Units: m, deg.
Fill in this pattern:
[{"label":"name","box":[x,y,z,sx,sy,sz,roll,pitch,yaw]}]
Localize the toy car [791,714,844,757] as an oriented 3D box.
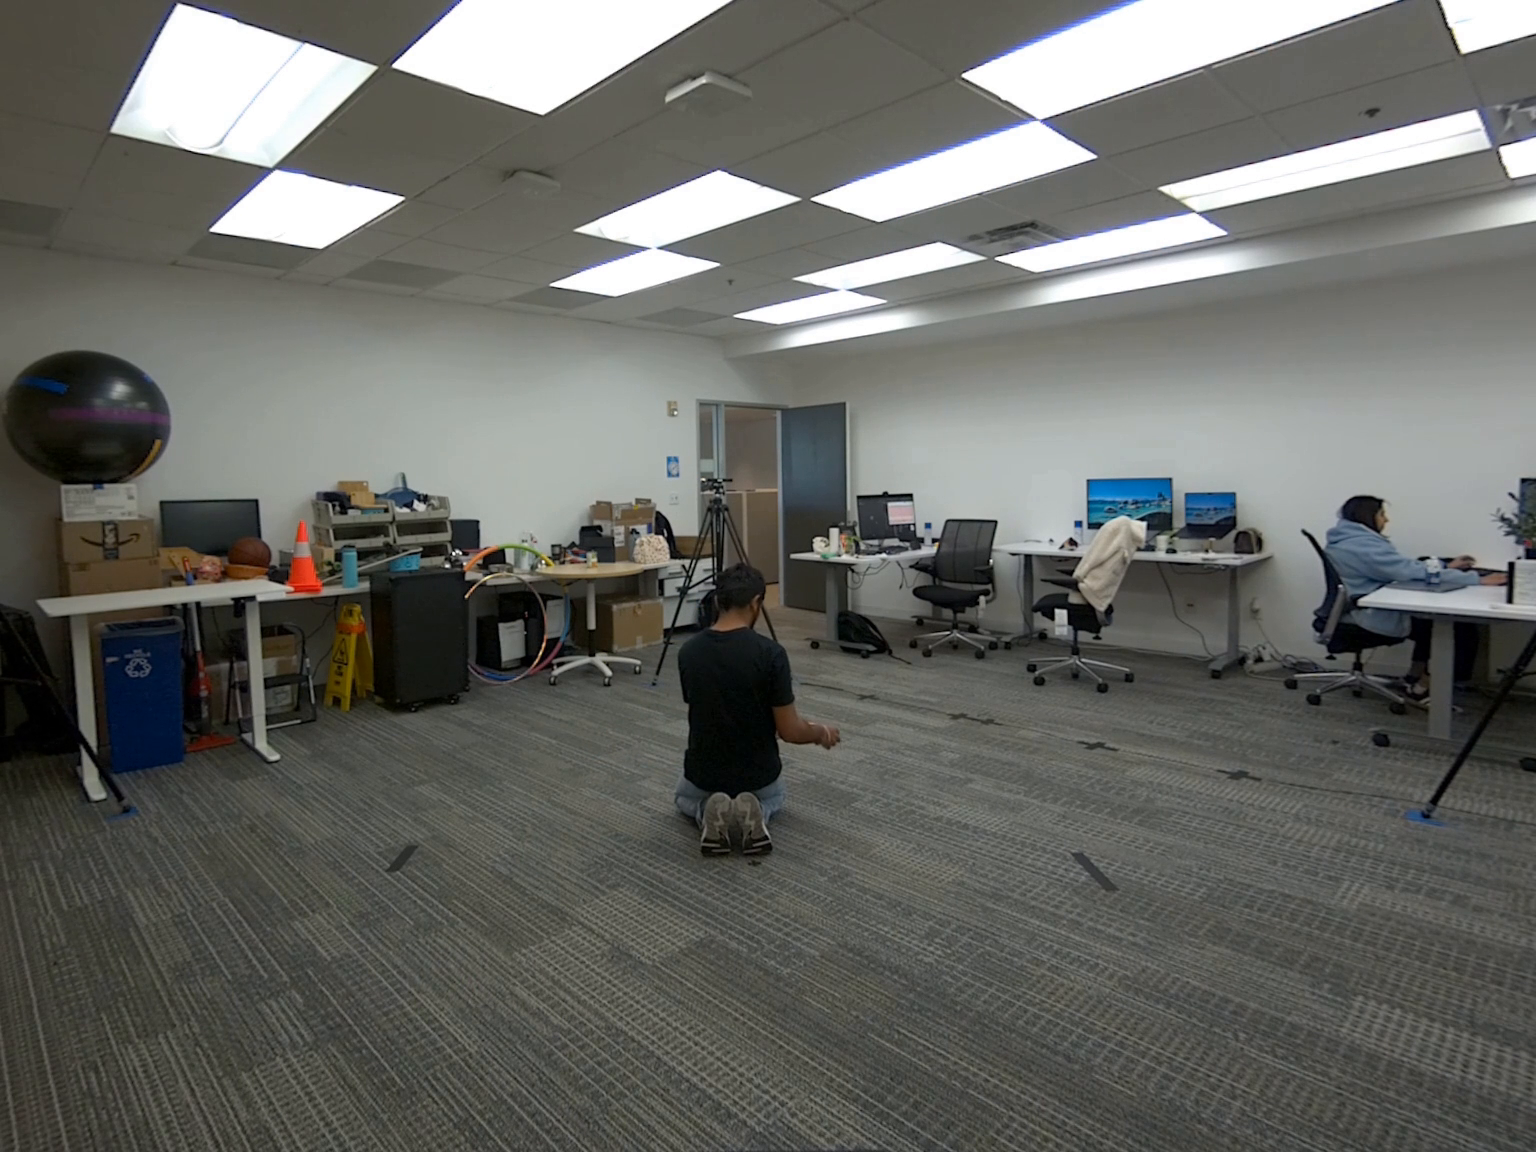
[{"label":"toy car","box":[0.168,0.656,3.553,0.126,0.083,0.263,0,8,-42]}]
